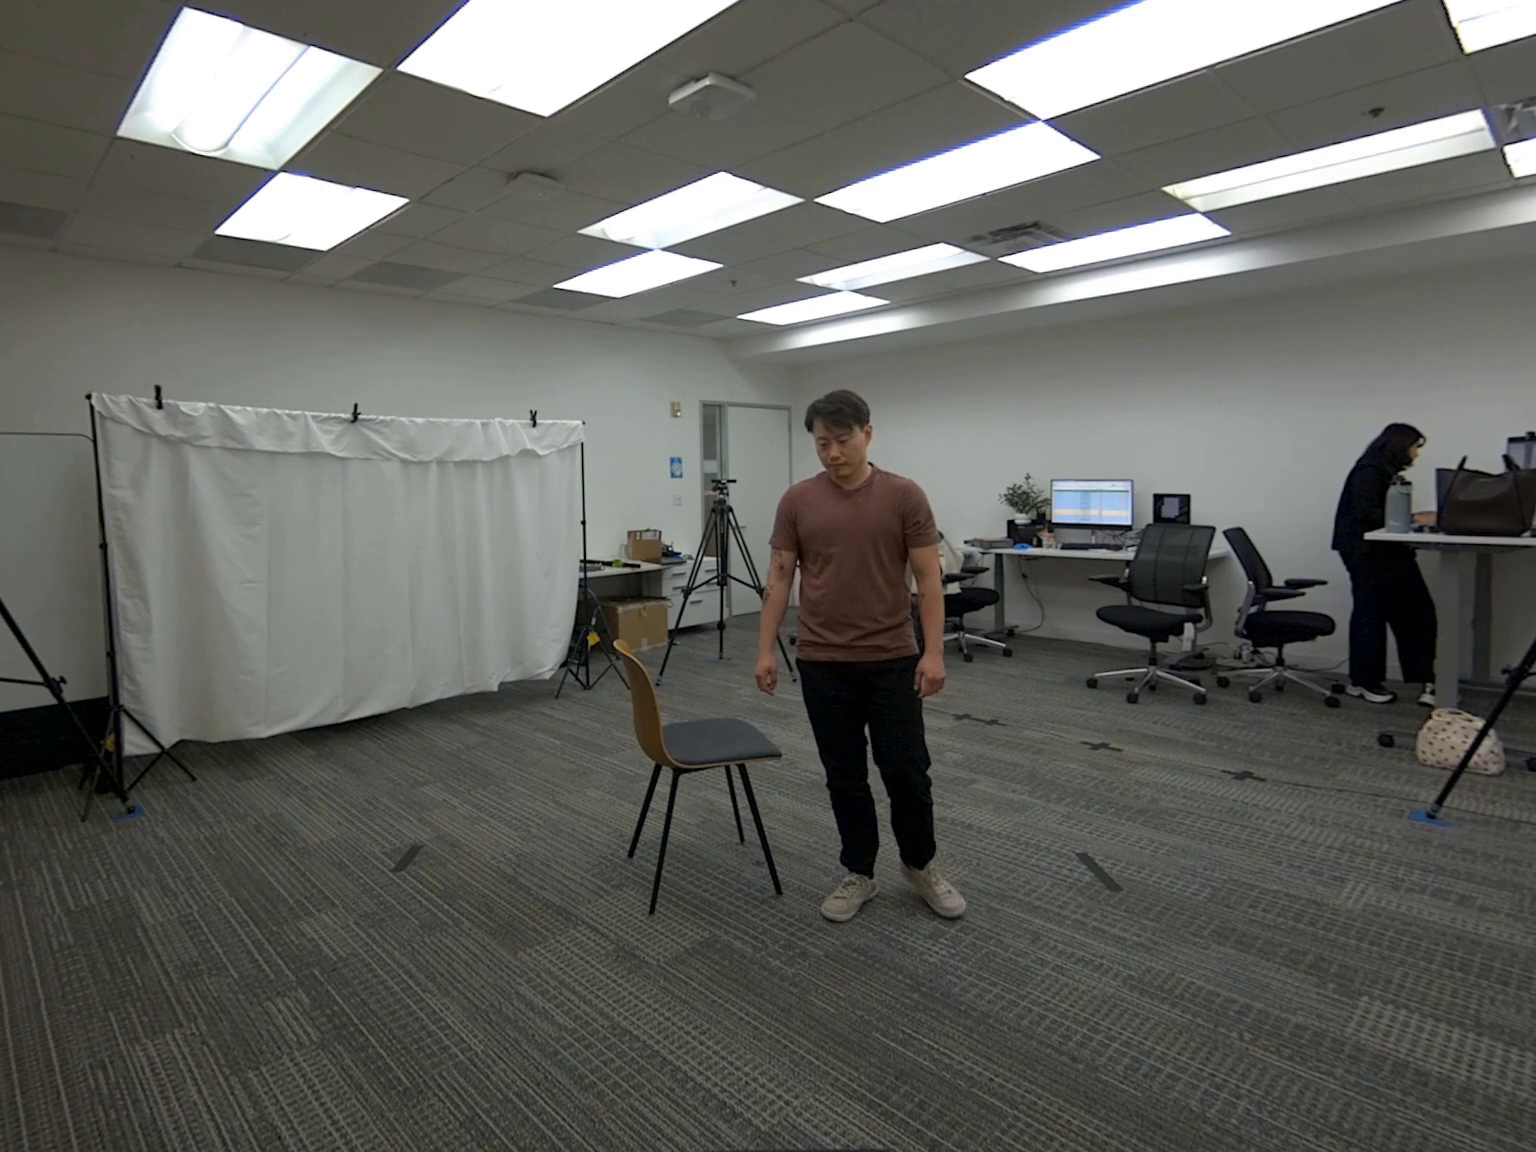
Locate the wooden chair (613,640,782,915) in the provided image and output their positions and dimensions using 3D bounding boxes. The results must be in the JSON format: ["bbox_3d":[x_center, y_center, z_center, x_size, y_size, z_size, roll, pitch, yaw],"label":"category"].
[{"bbox_3d":[-0.236,0.637,2.997,0.516,0.873,0.487,-6,5,-16],"label":"wooden chair"}]
